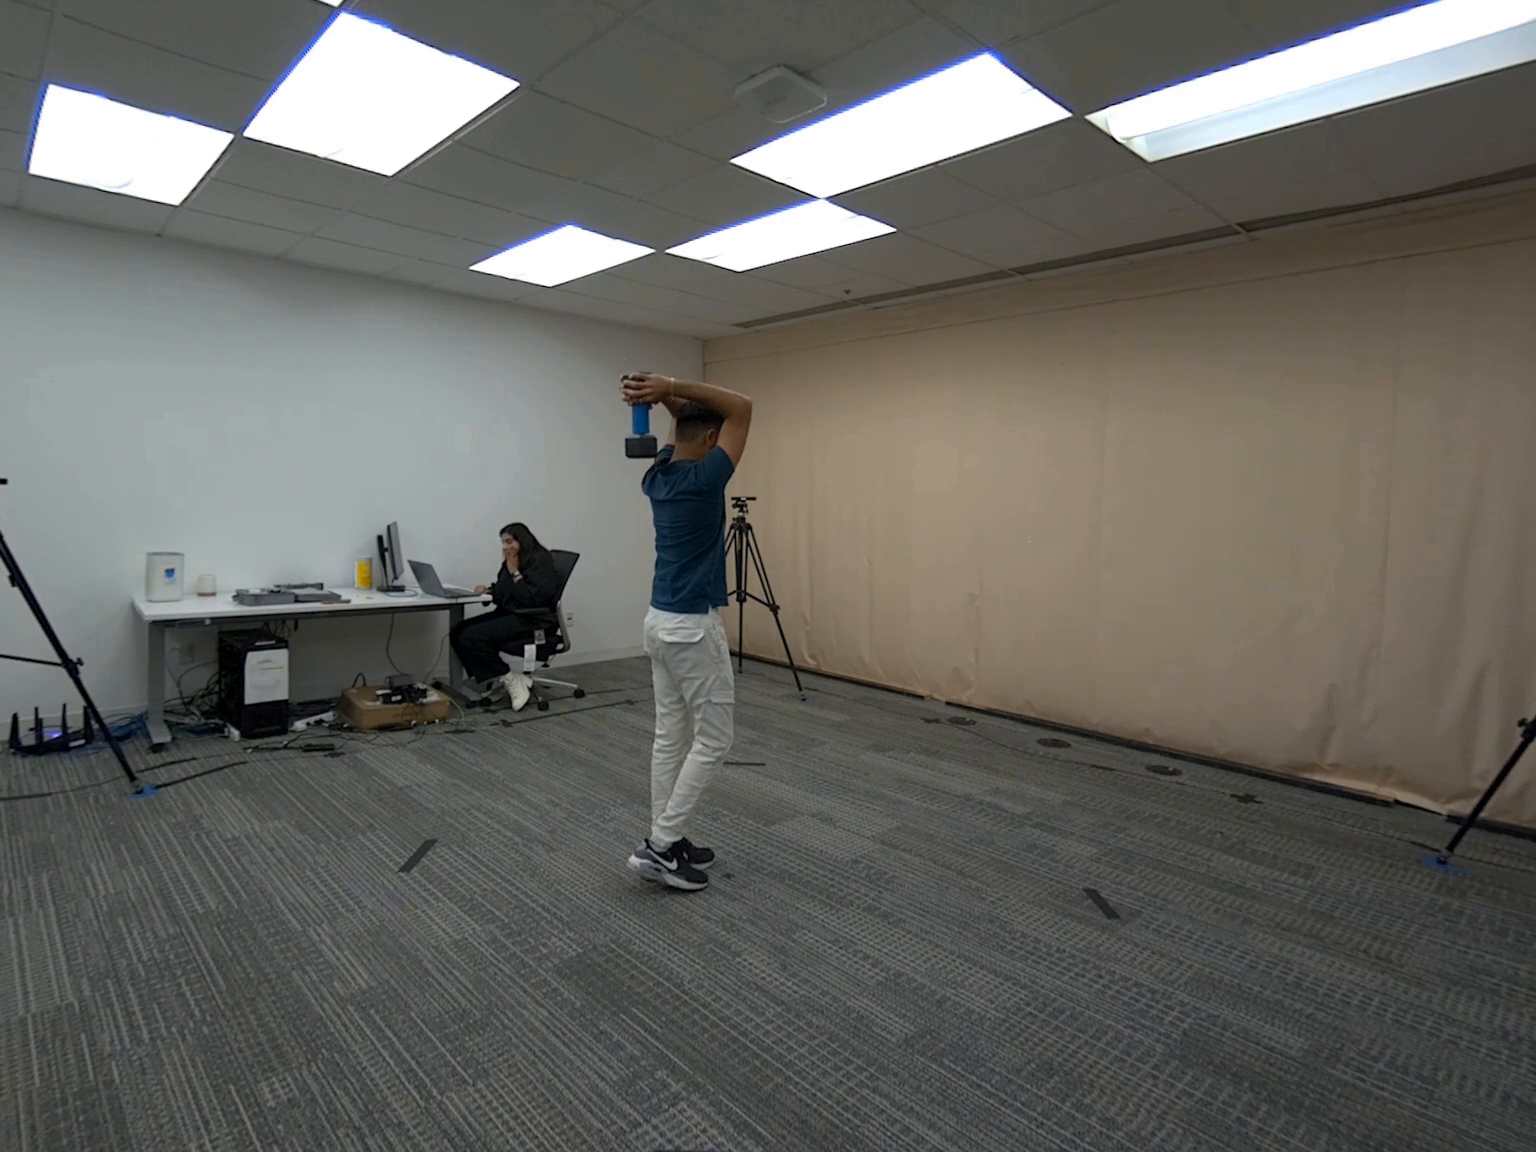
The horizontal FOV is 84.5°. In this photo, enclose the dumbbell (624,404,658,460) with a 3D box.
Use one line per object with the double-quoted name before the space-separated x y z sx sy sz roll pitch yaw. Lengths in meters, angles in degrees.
"dumbbell" -0.453 -0.555 2.913 0.120 0.292 0.111 -5 6 -40
